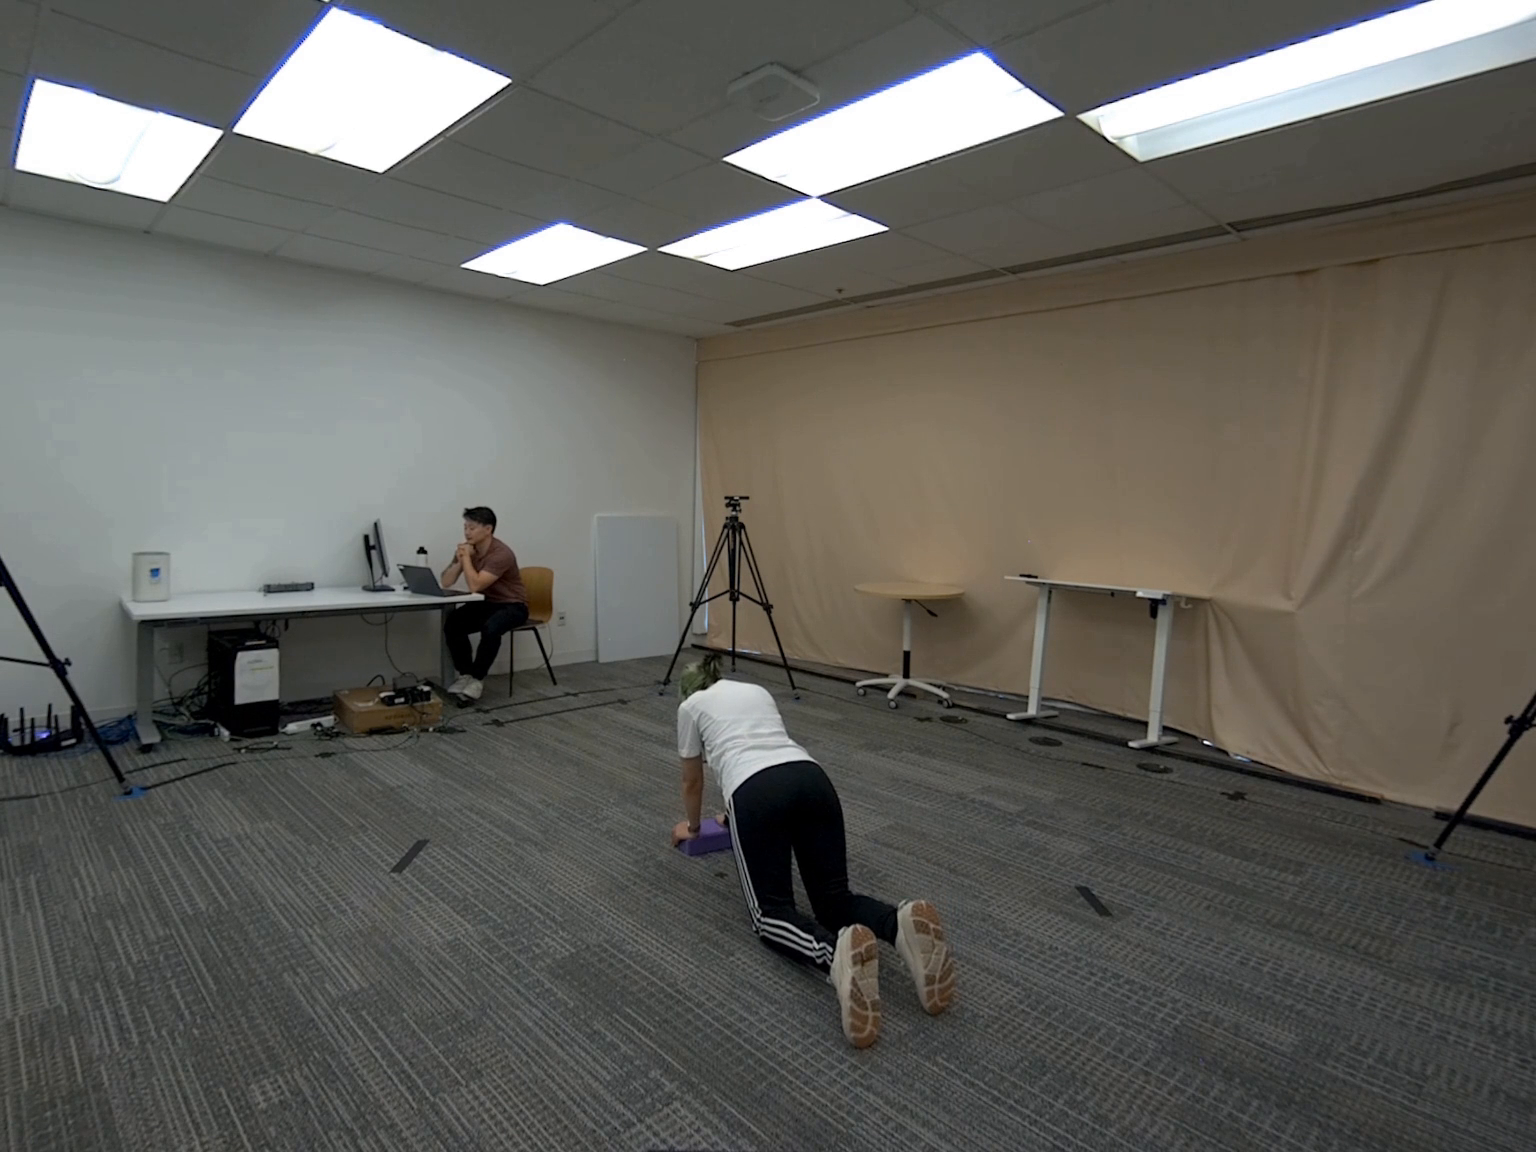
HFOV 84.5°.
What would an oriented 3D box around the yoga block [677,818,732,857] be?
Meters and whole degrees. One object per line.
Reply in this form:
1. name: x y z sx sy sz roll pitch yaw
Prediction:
1. yoga block: -0.256 1.039 3.363 0.225 0.076 0.152 -3 5 -32
